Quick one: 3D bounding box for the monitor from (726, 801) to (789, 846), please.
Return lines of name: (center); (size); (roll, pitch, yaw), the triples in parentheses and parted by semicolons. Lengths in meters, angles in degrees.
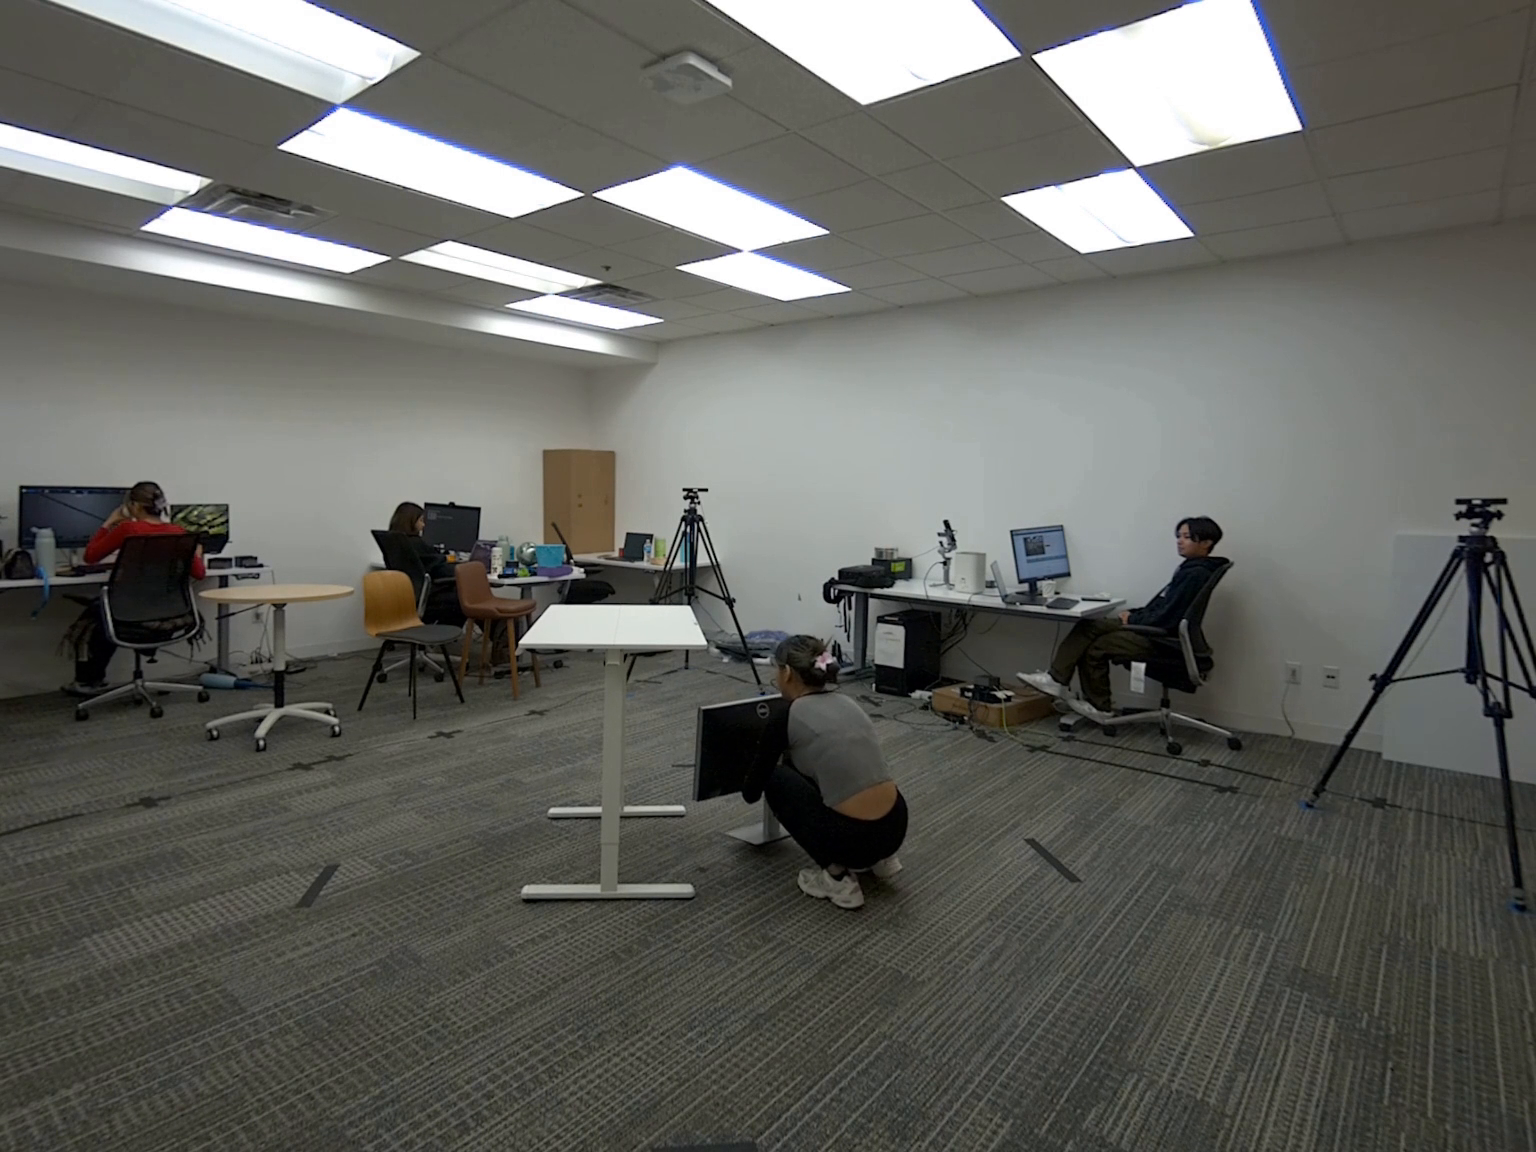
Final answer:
monitor: (-0.036, 0.732, 3.315); (0.522, 0.524, 0.192); (0, -3, -40)
